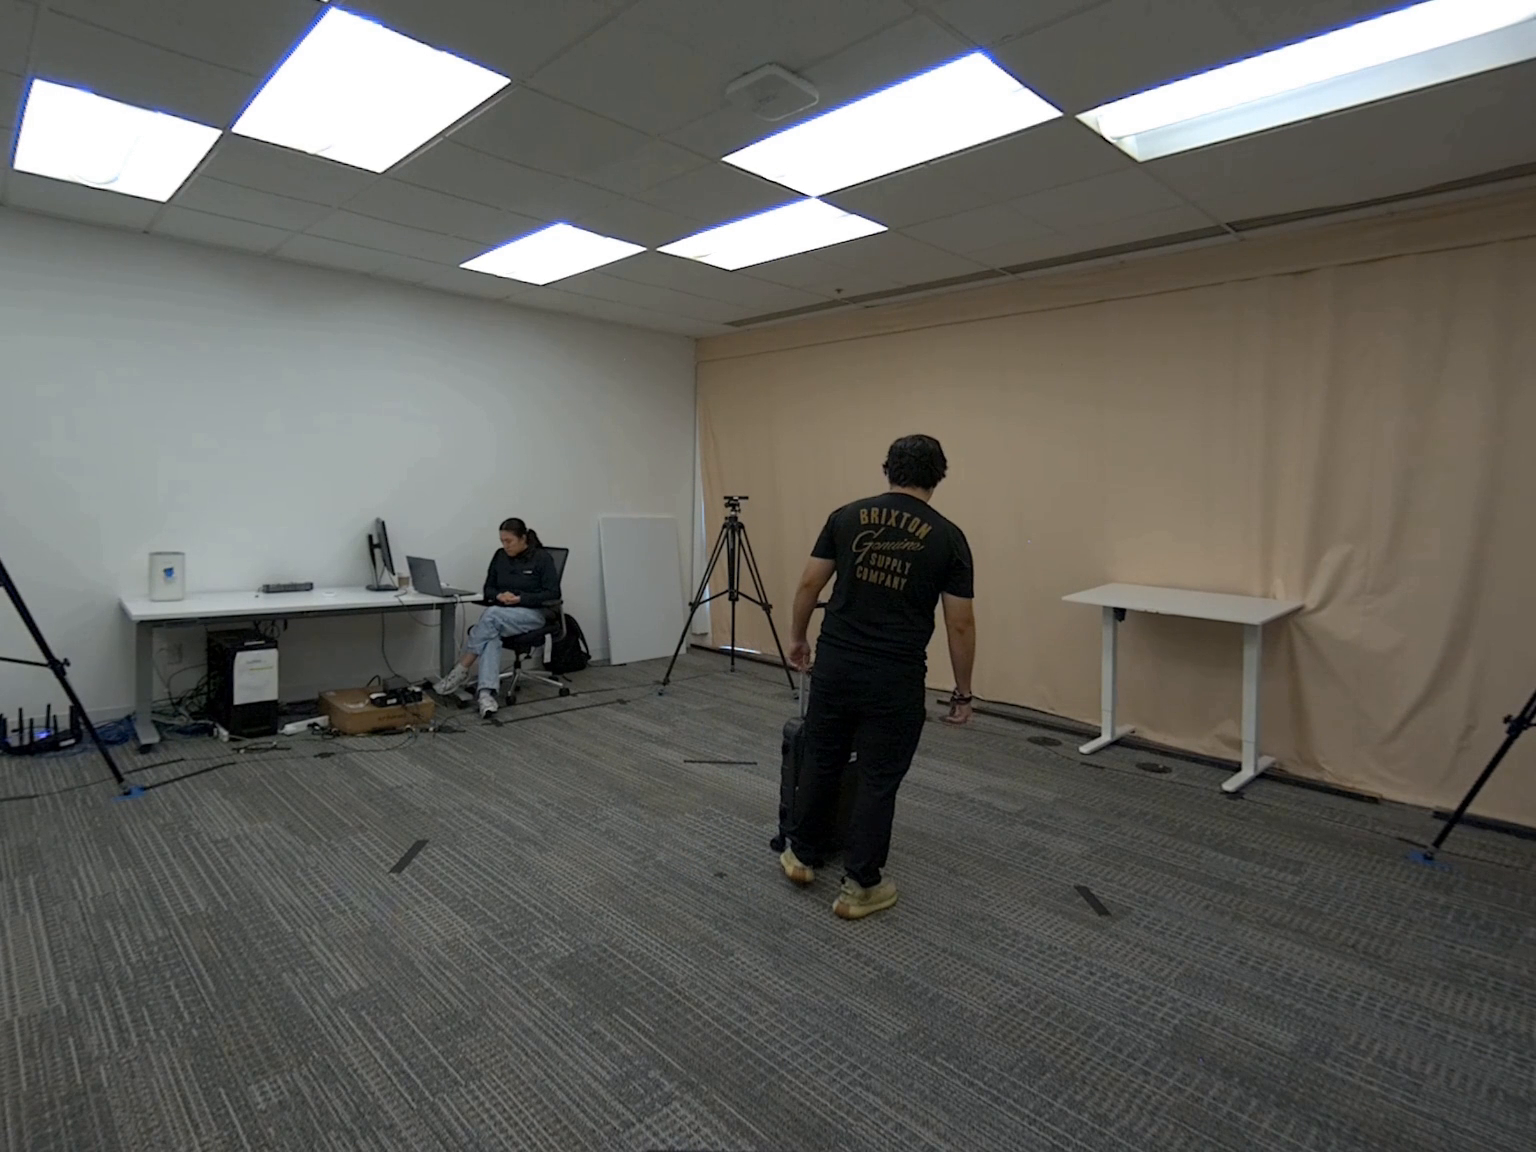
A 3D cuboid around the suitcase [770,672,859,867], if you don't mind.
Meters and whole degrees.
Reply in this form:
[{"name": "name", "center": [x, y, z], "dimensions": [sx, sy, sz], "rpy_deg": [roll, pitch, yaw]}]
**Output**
[{"name": "suitcase", "center": [0.251, 0.615, 3.327], "dimensions": [0.375, 0.976, 0.264], "rpy_deg": [0, 5, -42]}]
